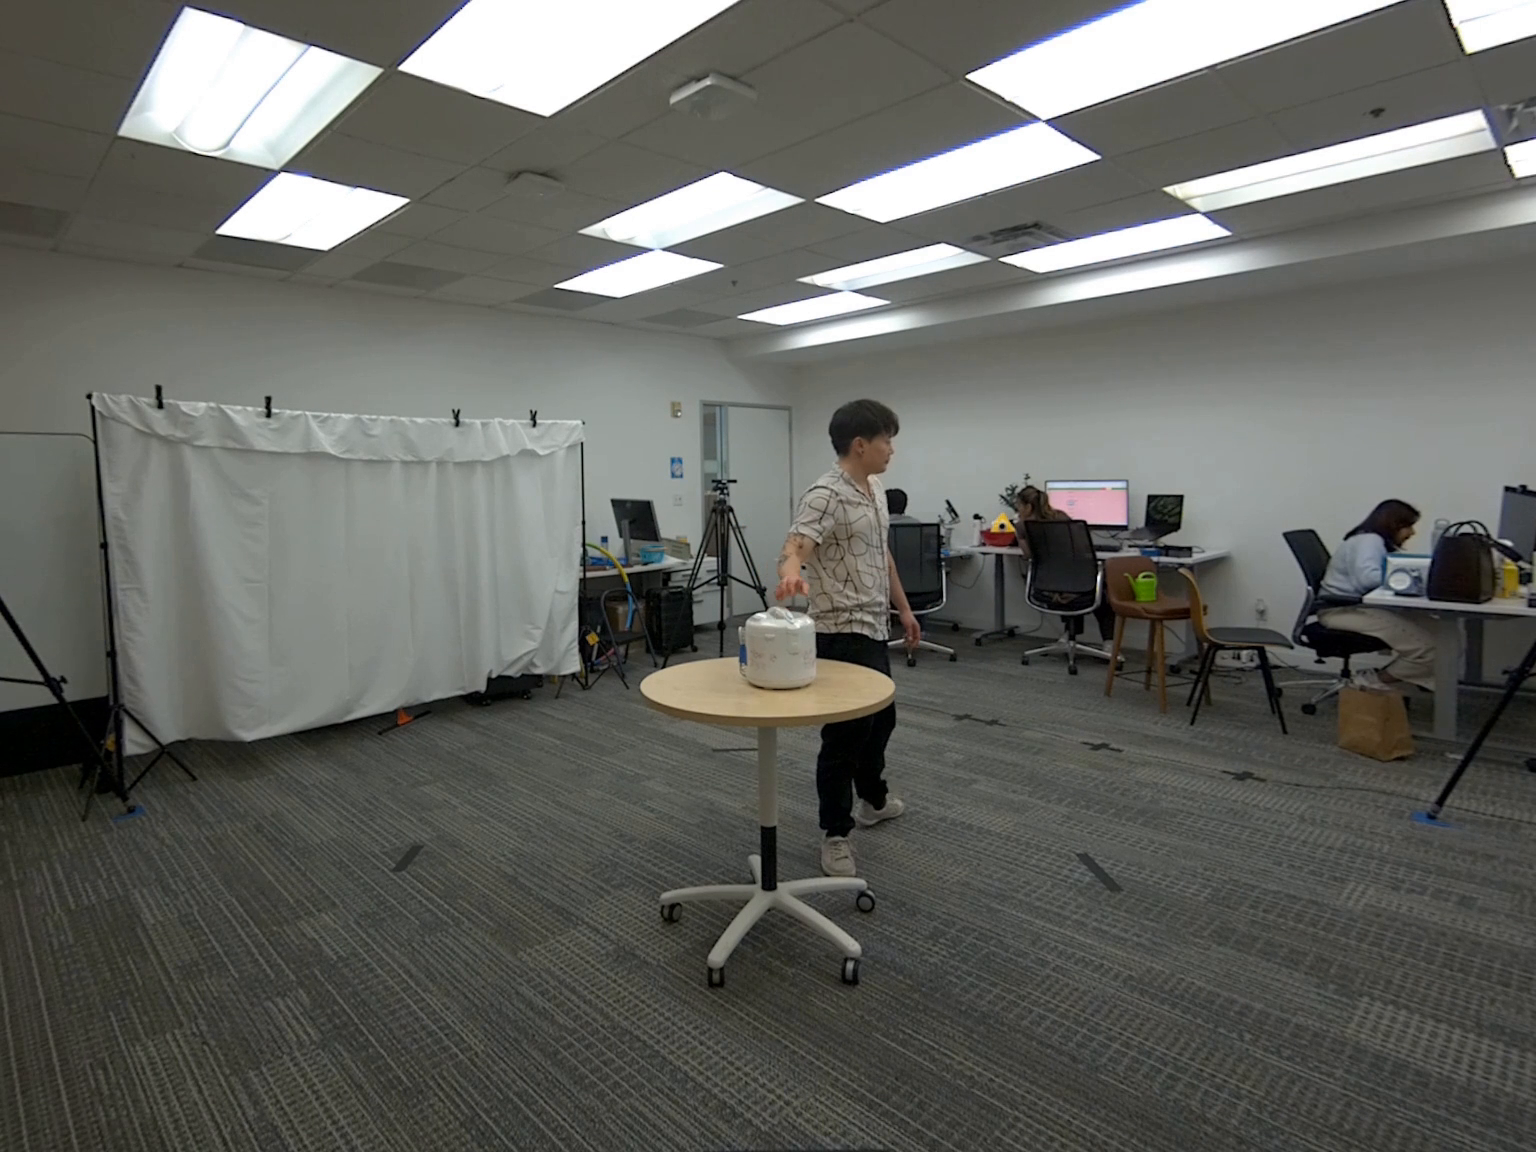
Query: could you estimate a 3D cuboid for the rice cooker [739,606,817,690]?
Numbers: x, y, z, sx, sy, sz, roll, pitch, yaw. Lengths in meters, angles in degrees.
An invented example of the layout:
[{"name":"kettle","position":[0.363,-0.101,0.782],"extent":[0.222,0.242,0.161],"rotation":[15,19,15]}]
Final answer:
[{"name":"rice cooker","position":[0.038,0.206,2.569],"extent":[0.214,0.232,0.225],"rotation":[-3,6,-19]}]
